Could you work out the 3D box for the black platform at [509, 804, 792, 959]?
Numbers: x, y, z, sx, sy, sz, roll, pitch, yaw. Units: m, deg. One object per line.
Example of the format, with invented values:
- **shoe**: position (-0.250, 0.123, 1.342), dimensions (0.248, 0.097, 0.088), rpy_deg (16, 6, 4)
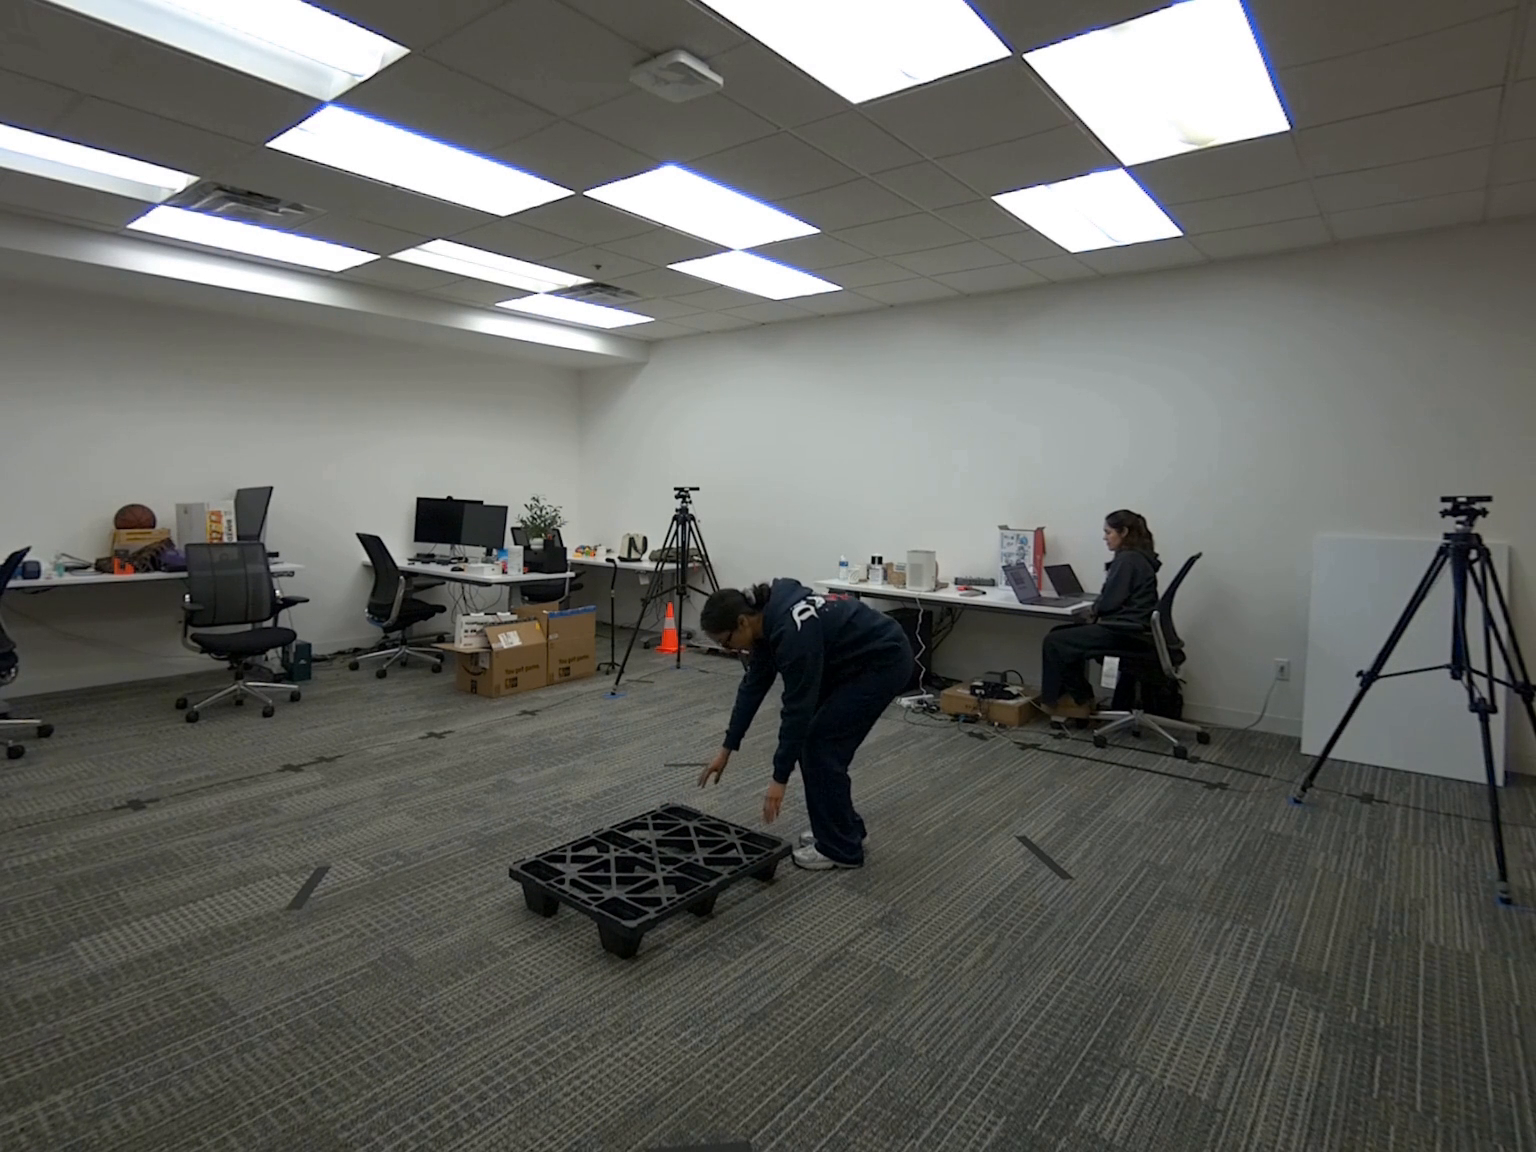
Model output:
- **black platform**: position (-0.390, 1.016, 2.915), dimensions (0.625, 0.143, 0.782), rpy_deg (6, 8, 38)
